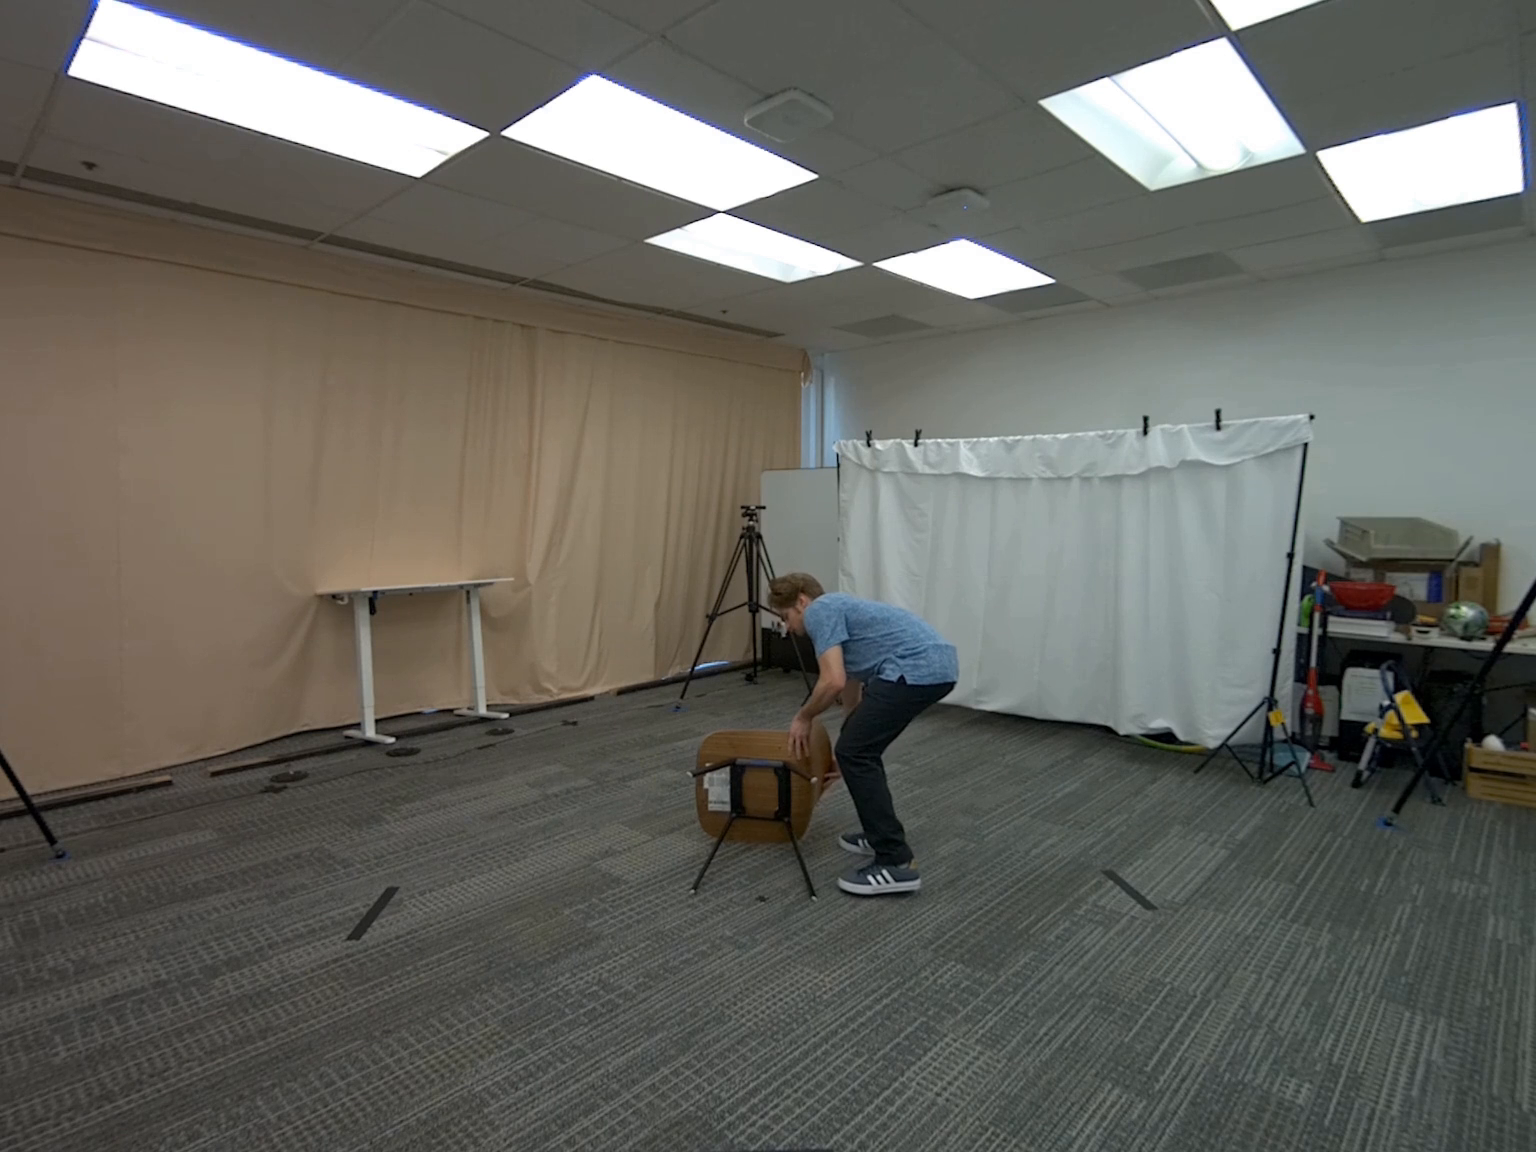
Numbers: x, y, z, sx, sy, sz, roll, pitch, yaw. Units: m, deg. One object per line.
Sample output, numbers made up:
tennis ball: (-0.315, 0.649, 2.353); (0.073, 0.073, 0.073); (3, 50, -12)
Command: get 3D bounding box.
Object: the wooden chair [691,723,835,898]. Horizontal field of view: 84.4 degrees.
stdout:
wooden chair: (-0.031, 0.867, 3.382); (0.529, 0.476, 0.871); (0, 7, 9)
